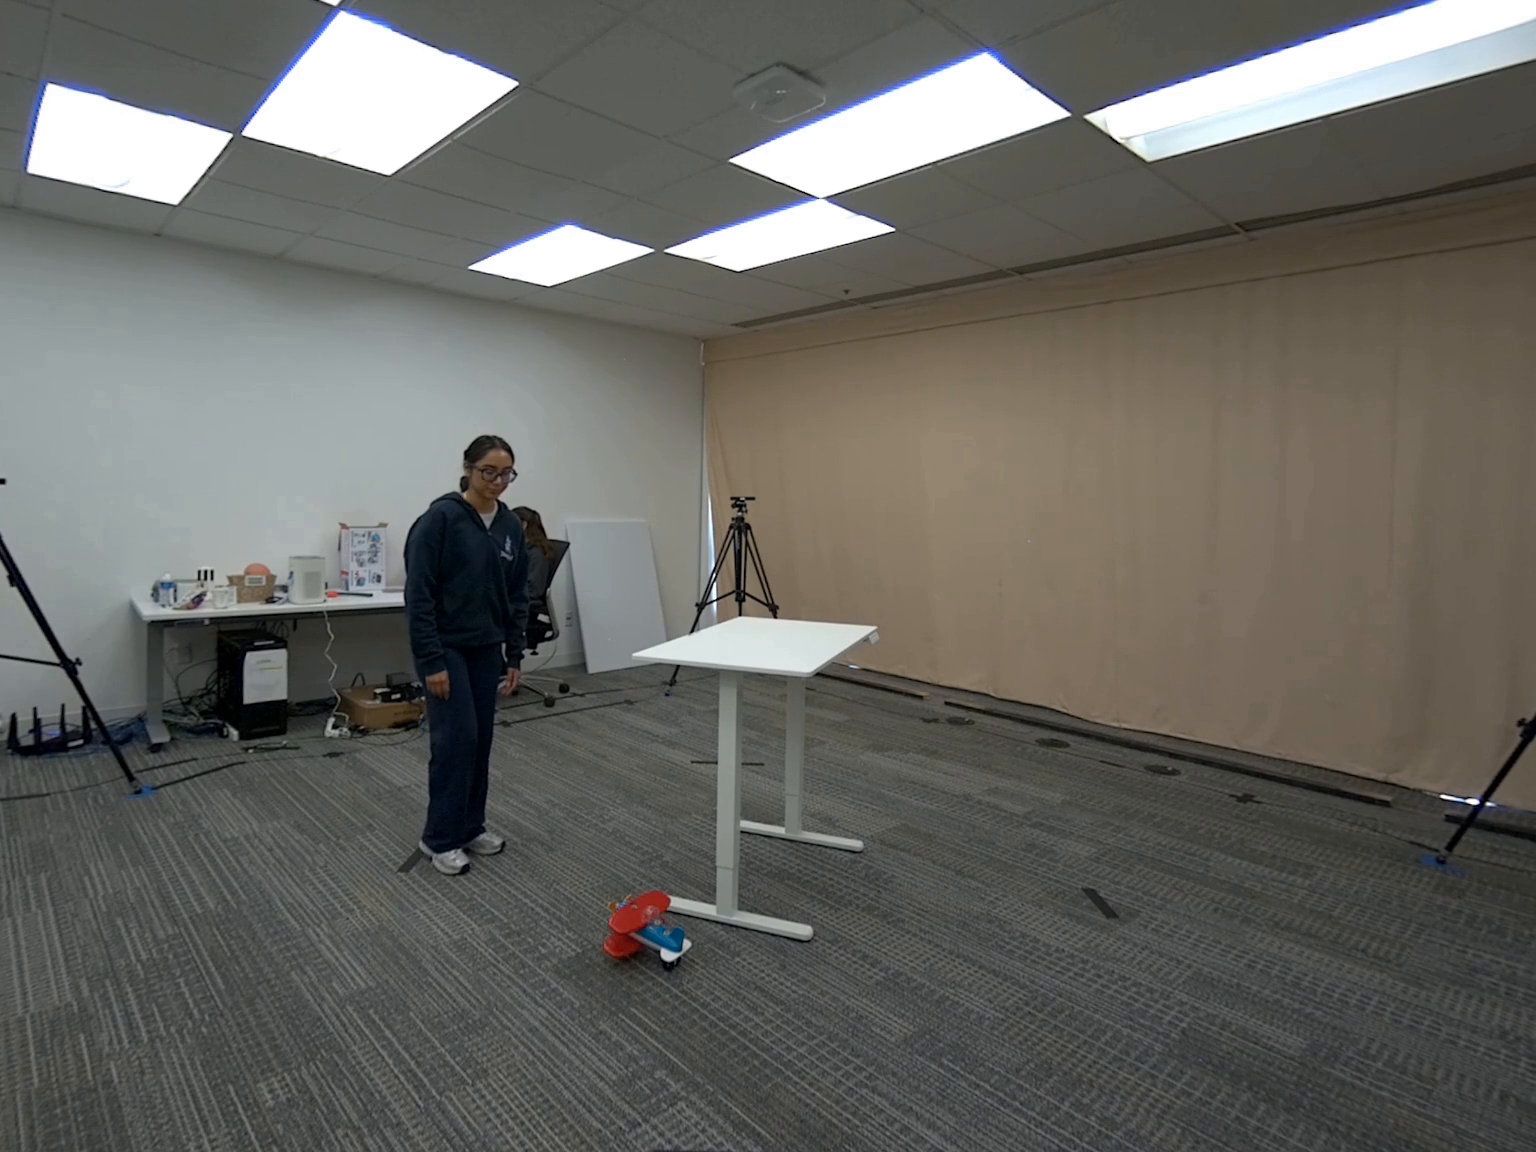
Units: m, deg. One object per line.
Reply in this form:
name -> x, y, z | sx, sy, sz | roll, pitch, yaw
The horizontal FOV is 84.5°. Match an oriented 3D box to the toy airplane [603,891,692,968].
toy airplane -> -0.358, 1.082, 2.559 | 0.260, 0.156, 0.251 | 0, 5, 2
